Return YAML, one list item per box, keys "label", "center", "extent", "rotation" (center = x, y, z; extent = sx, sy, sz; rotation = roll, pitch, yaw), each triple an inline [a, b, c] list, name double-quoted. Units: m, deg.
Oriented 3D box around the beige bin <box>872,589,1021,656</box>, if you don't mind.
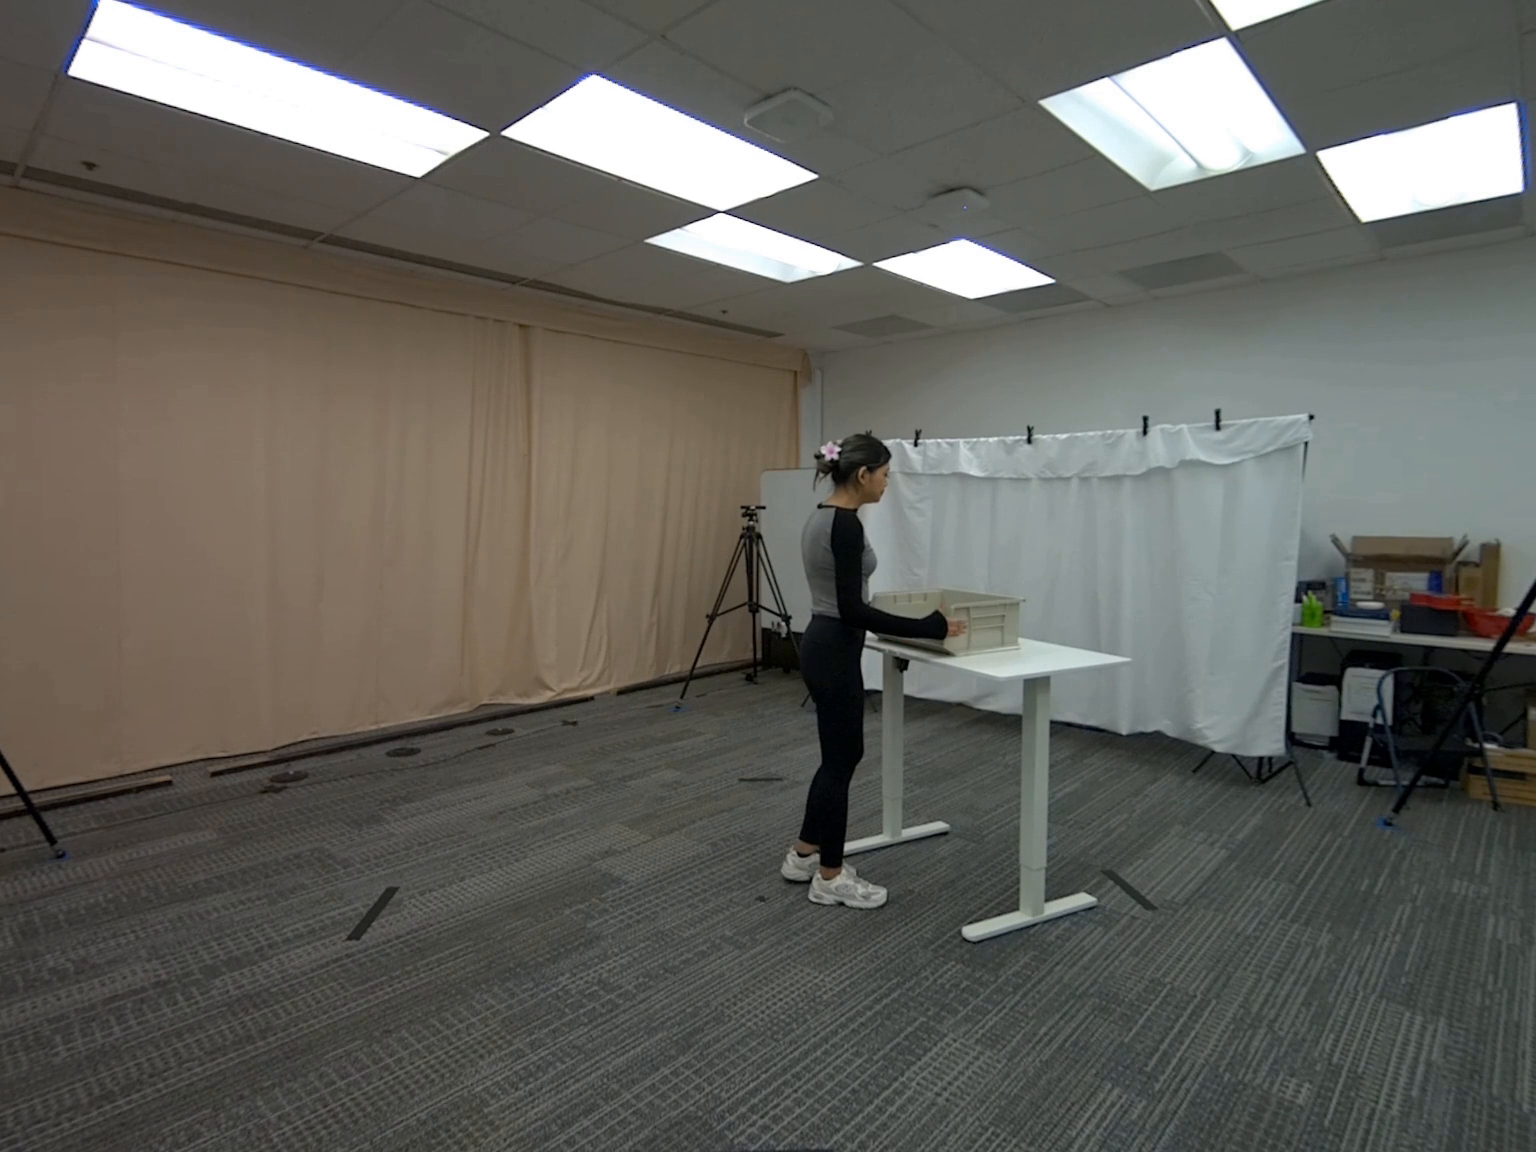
- label: "beige bin"
  center: [0.649, 0.165, 3.071]
  extent: [0.367, 0.188, 0.435]
  rotation: [-2, 4, -31]
